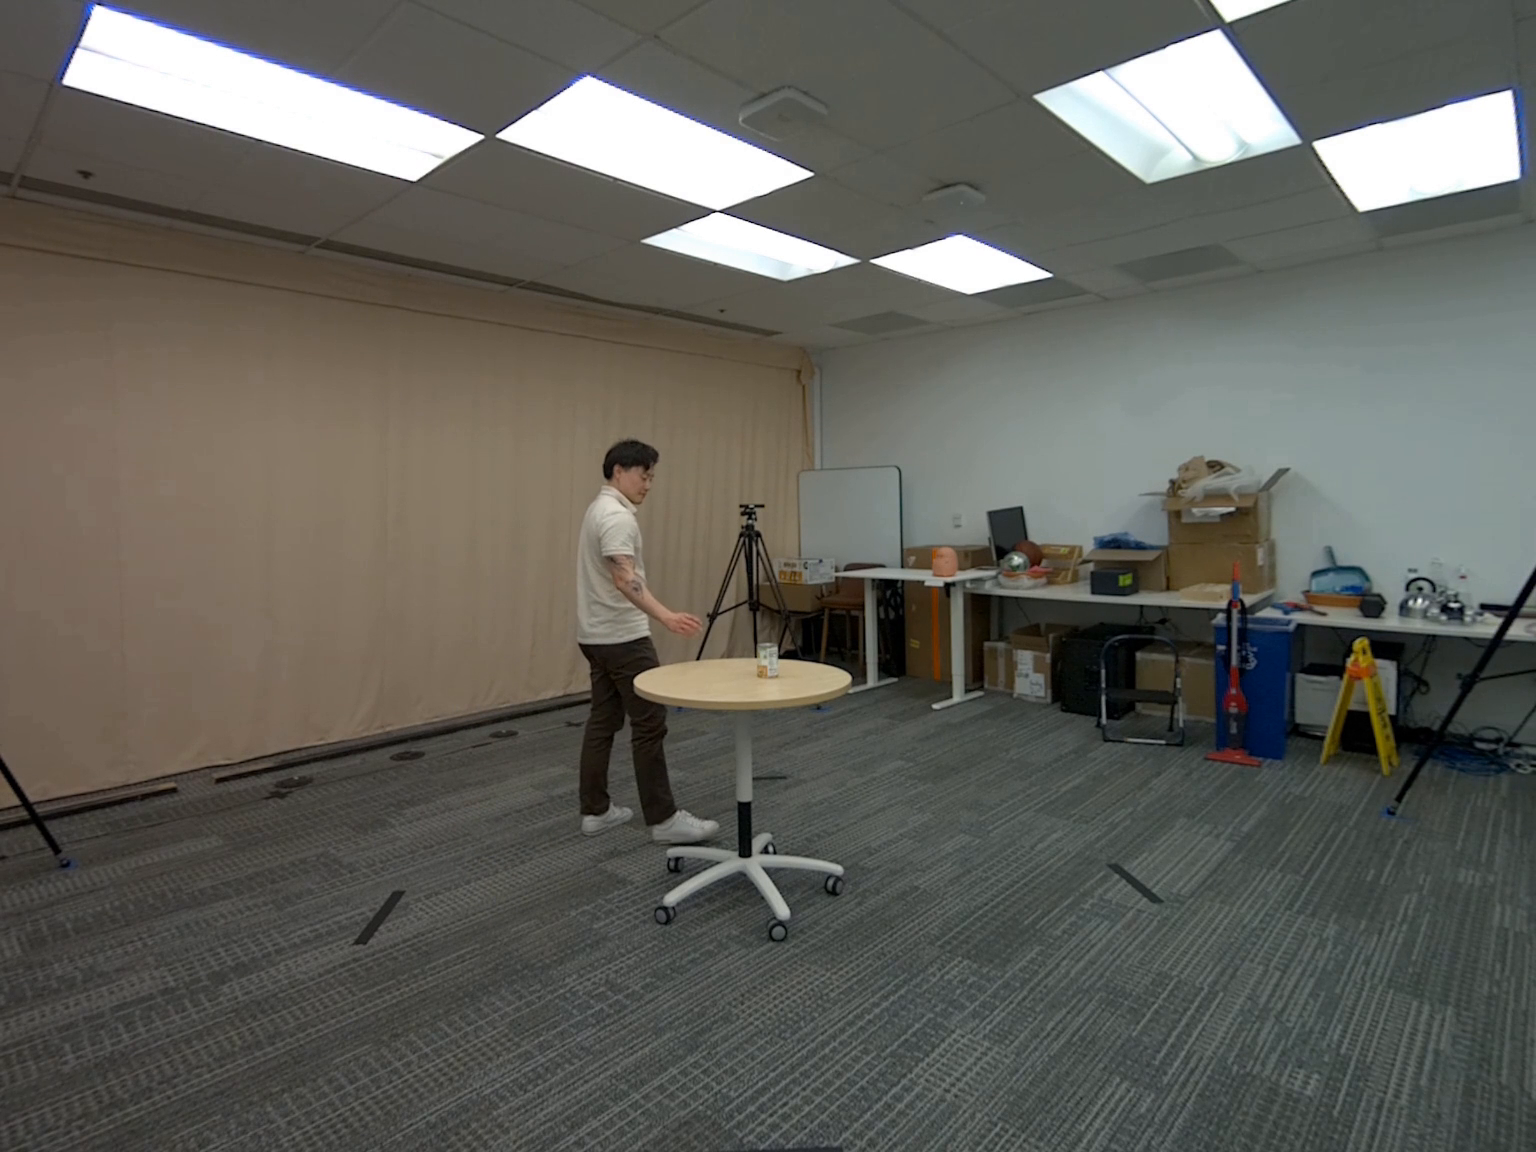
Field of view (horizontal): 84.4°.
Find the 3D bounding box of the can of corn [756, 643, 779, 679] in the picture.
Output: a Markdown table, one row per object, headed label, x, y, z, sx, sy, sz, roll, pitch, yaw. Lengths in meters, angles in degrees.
| label | x | y | z | sx | sy | sz | roll | pitch | yaw |
| --- | --- | --- | --- | --- | --- | --- | --- | --- | --- |
| can of corn | 0.003 | 0.301 | 2.980 | 0.074 | 0.111 | 0.074 | 0 | 2 | -2 |
